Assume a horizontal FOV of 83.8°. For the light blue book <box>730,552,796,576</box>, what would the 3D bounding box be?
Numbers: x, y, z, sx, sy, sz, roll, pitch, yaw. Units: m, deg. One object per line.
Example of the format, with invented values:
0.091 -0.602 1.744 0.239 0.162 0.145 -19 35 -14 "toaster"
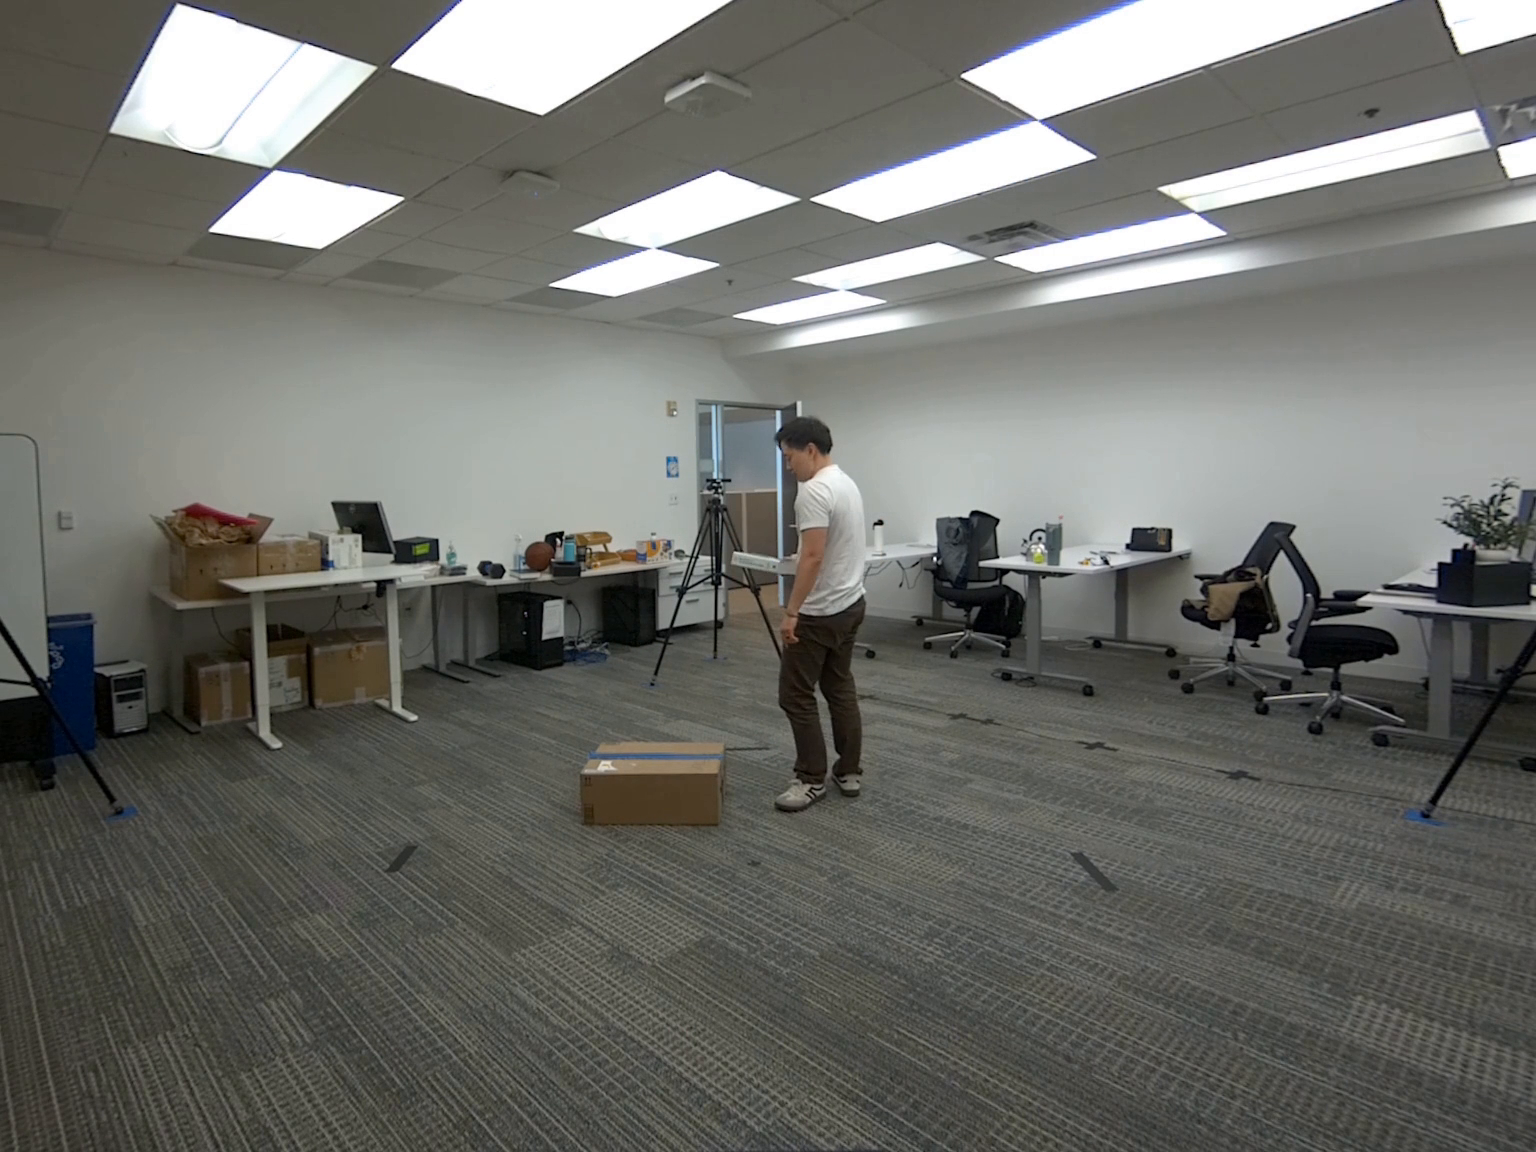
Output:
-0.012 -0.065 3.932 0.269 0.059 0.186 11 8 36 "light blue book"
